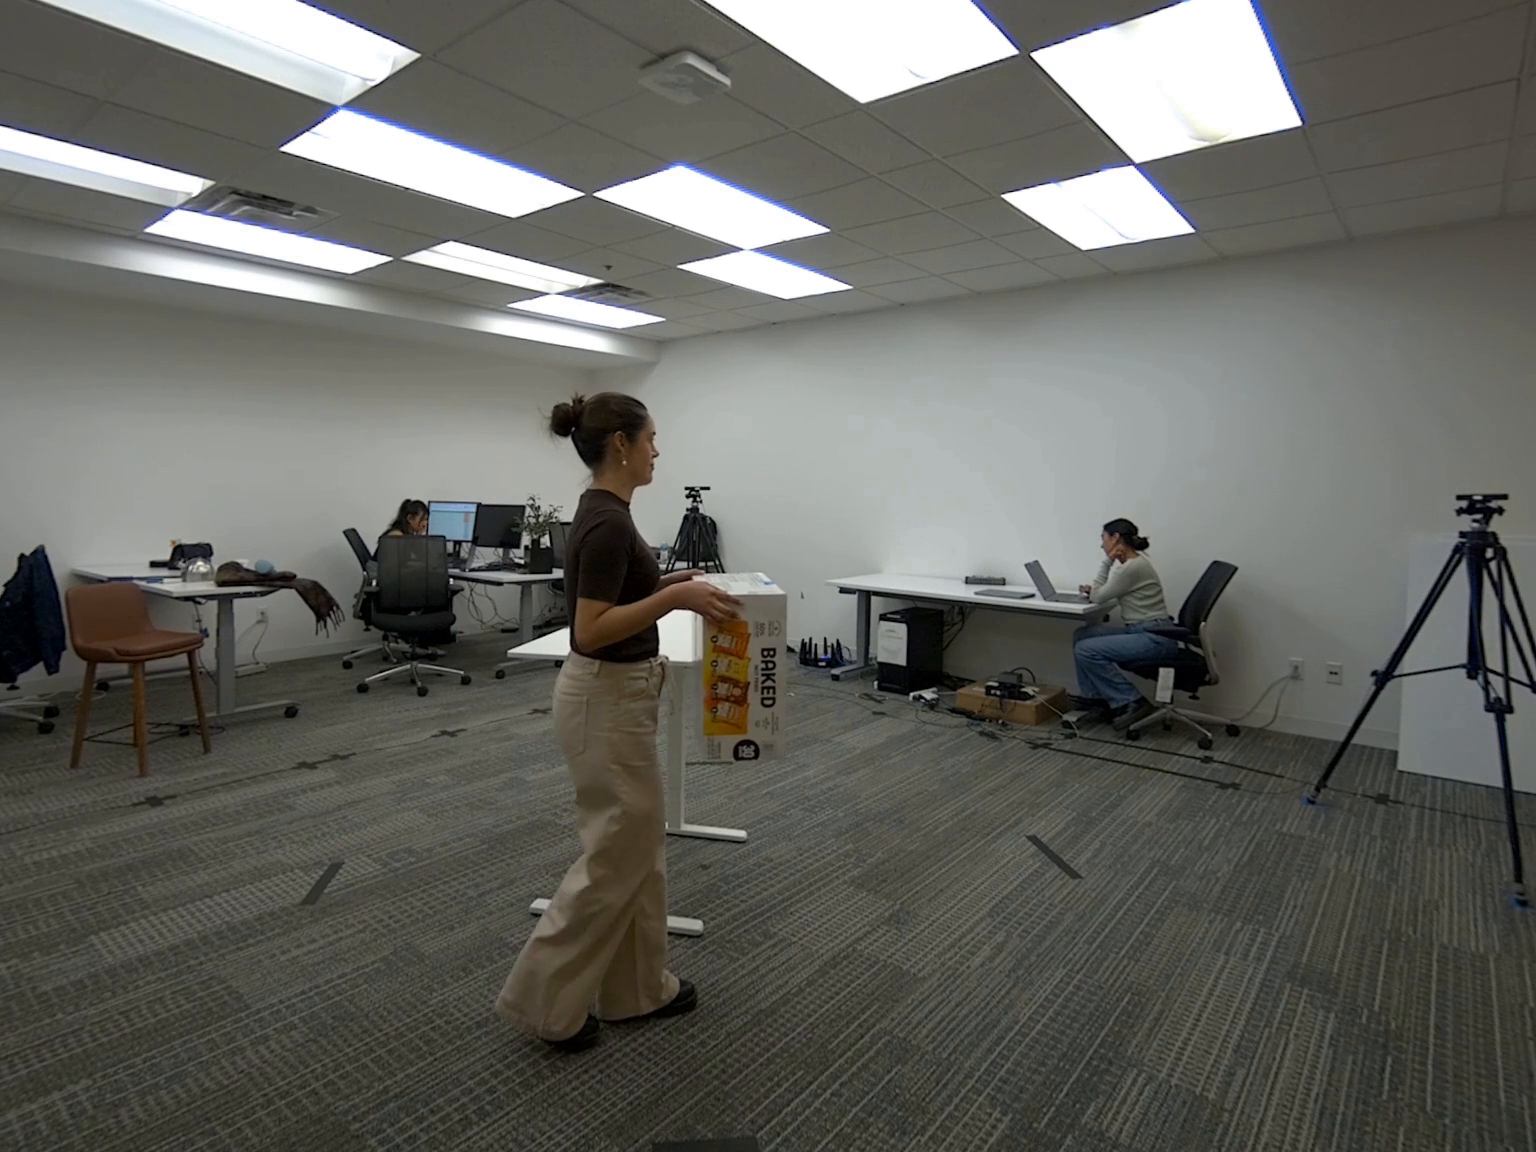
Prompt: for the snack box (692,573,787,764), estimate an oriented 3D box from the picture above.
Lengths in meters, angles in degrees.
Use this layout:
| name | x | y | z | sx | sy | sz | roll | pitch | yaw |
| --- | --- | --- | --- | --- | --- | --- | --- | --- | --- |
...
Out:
| name | x | y | z | sx | sy | sz | roll | pitch | yaw |
| --- | --- | --- | --- | --- | --- | --- | --- | --- | --- |
| snack box | -0.094 | 0.221 | 2.166 | 0.204 | 0.402 | 0.345 | -1 | 7 | -8 |
